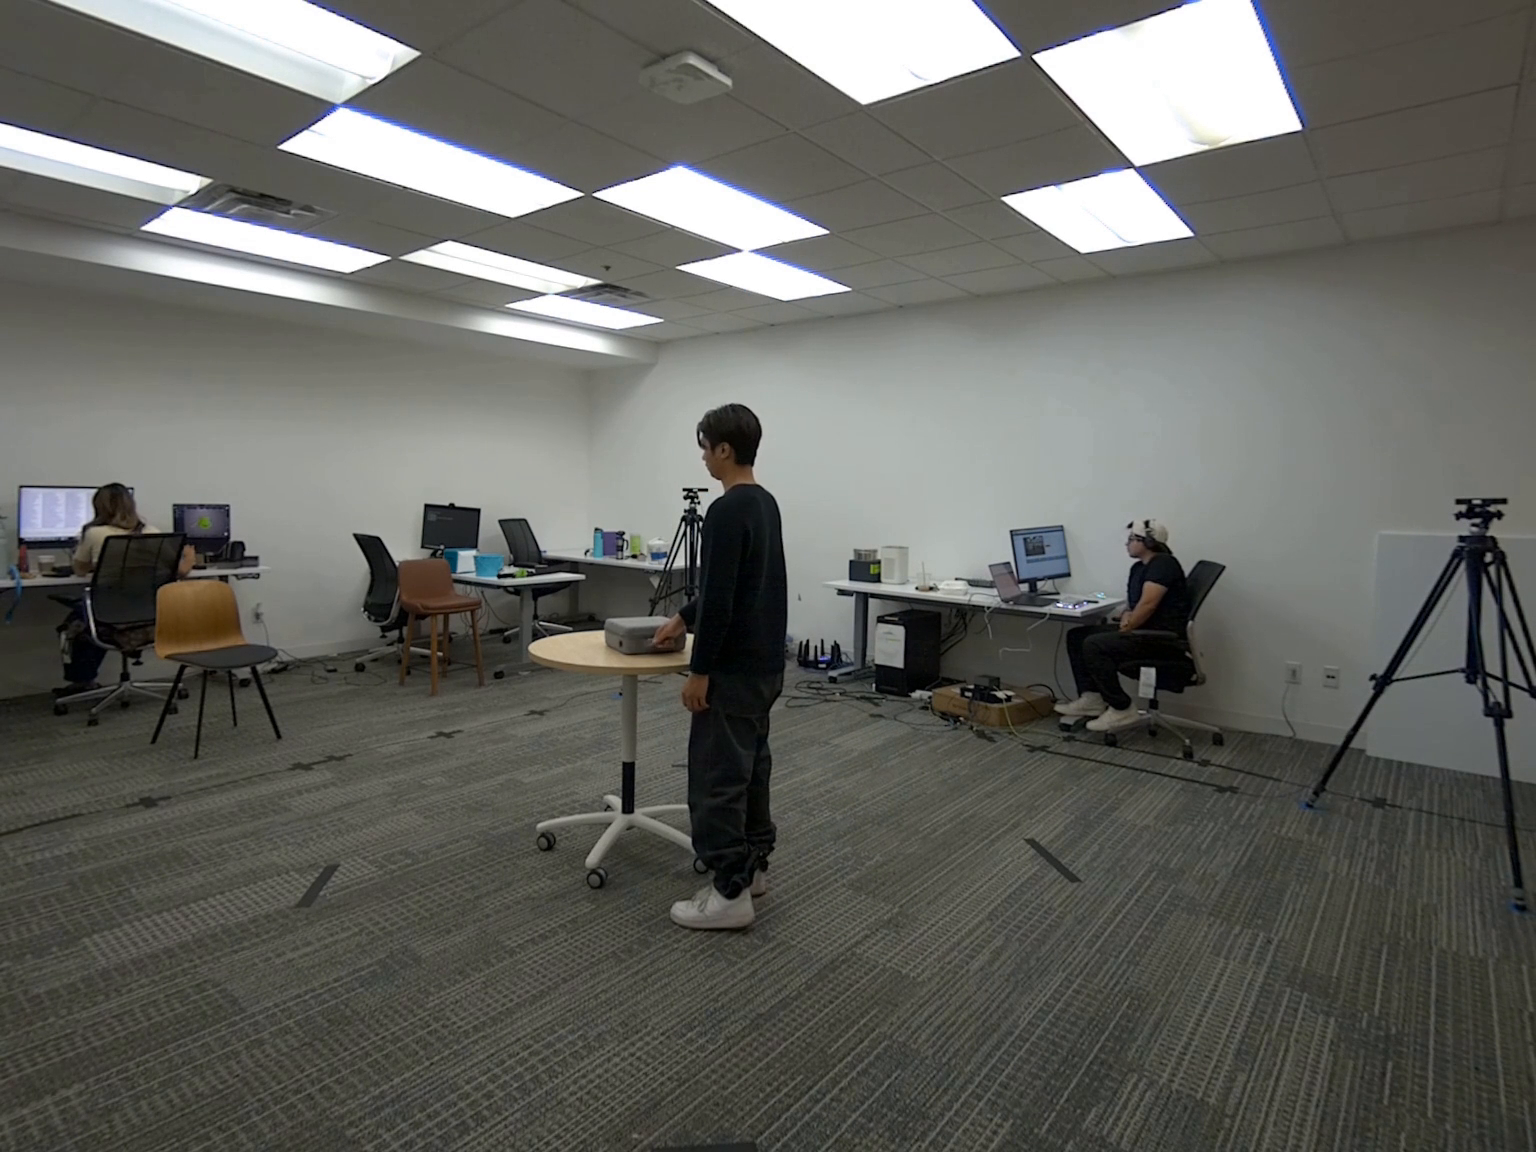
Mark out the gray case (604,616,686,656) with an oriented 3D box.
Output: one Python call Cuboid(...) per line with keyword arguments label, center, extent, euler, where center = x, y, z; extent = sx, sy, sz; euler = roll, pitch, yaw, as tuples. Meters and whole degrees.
Cuboid(label="gray case", center=(-0.477, 0.218, 3.218), extent=(0.250, 0.104, 0.268), euler=(-1, 5, -28))
